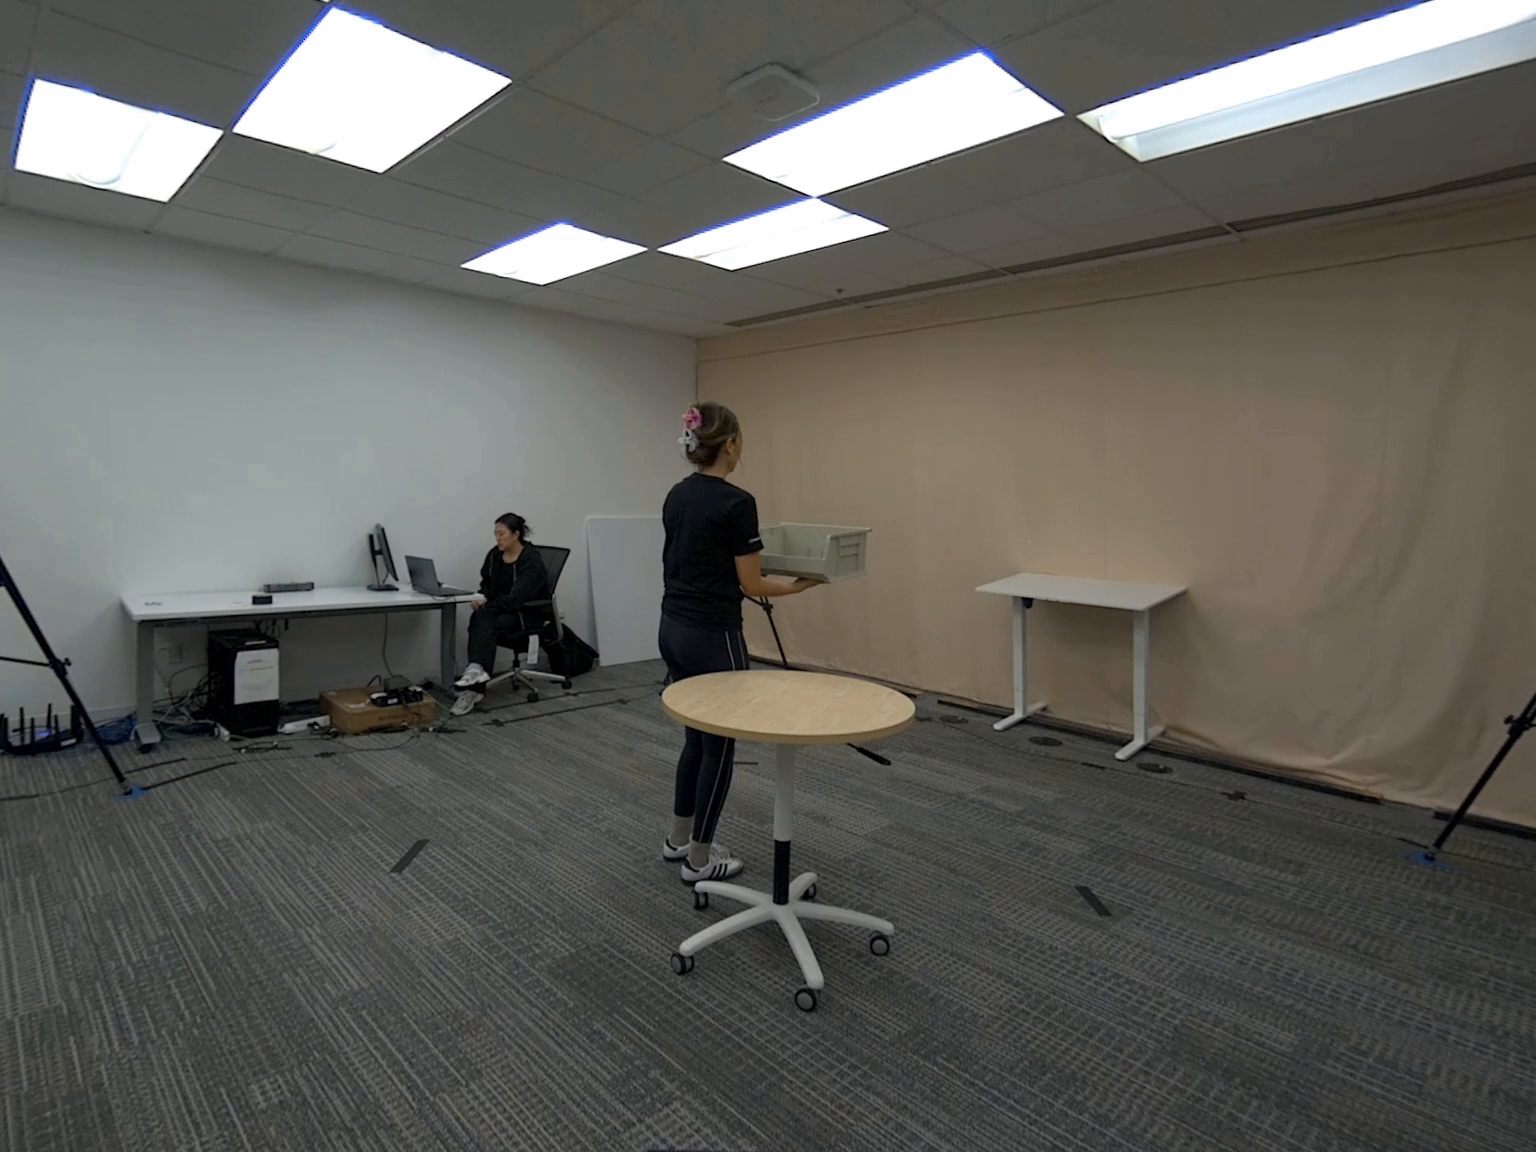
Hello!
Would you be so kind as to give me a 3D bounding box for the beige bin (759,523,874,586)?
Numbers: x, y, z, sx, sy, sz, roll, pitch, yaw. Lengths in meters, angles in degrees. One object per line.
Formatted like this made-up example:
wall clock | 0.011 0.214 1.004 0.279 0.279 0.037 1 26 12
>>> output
beige bin | 0.132 -0.094 3.291 0.432 0.188 0.370 5 8 32
